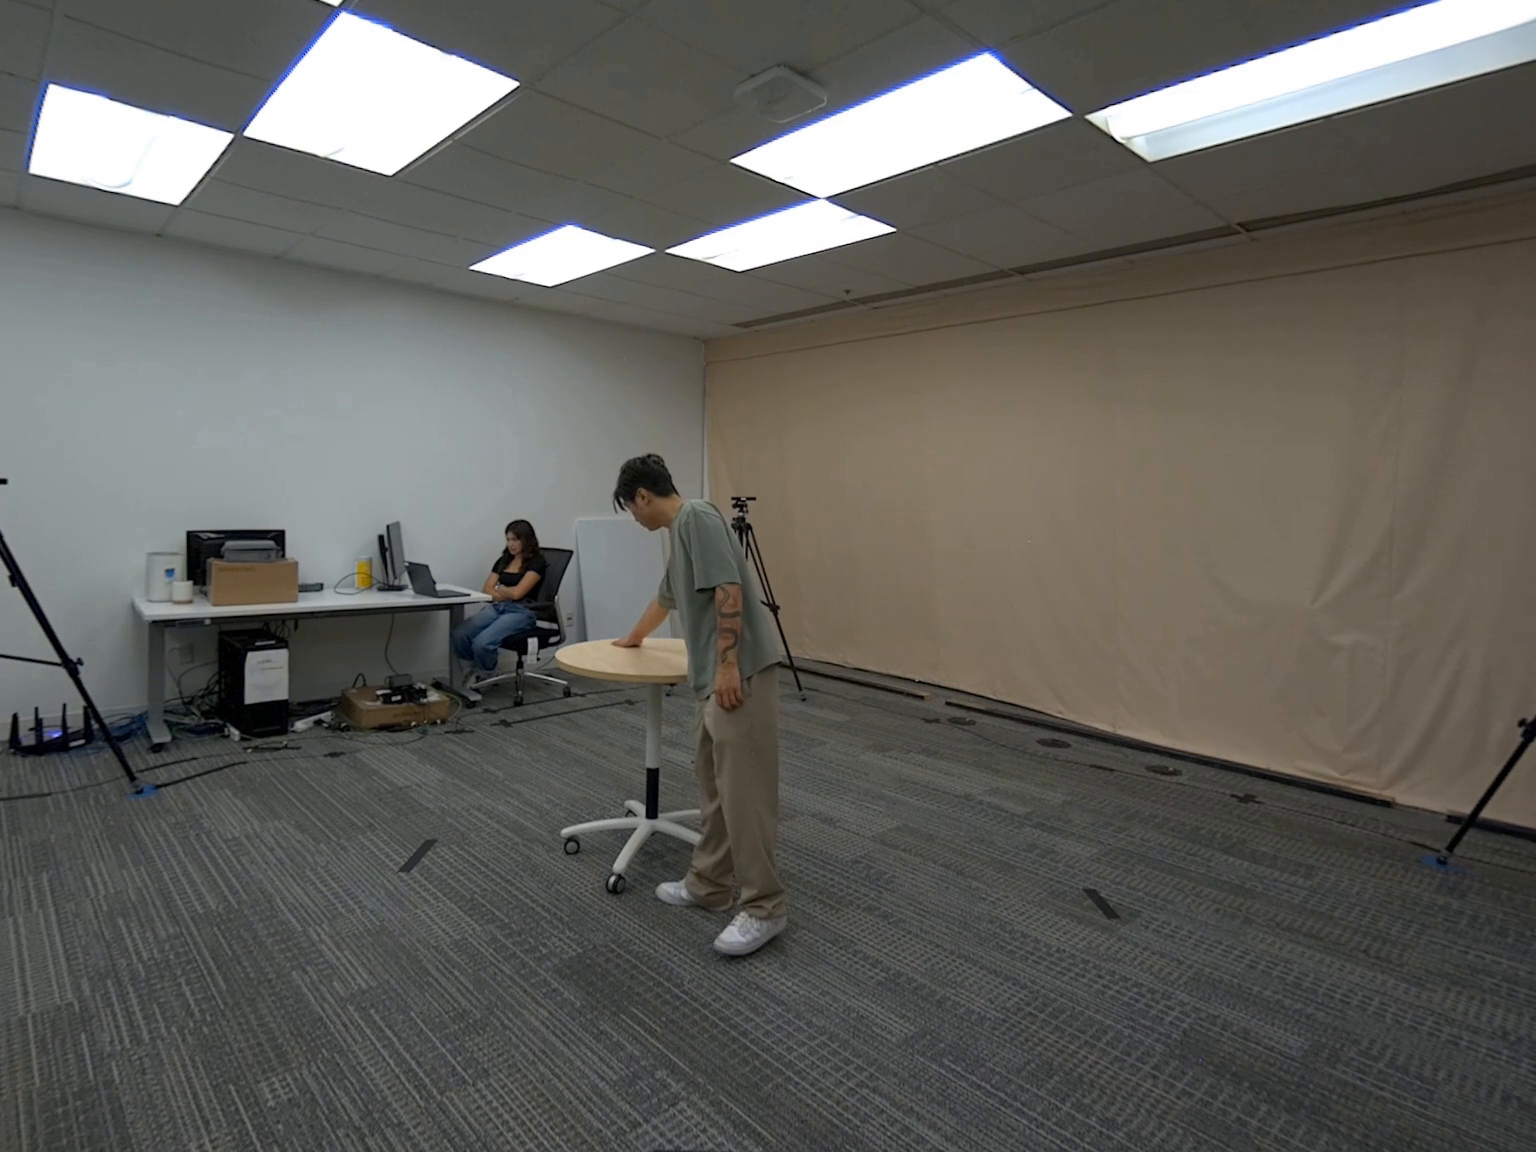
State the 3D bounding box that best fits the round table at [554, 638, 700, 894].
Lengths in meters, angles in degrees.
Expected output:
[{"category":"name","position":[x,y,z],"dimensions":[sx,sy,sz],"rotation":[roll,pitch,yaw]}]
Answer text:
[{"category":"round table","position":[-0.460,0.698,3.277],"dimensions":[0.763,0.792,0.766],"rotation":[1,4,-1]}]
